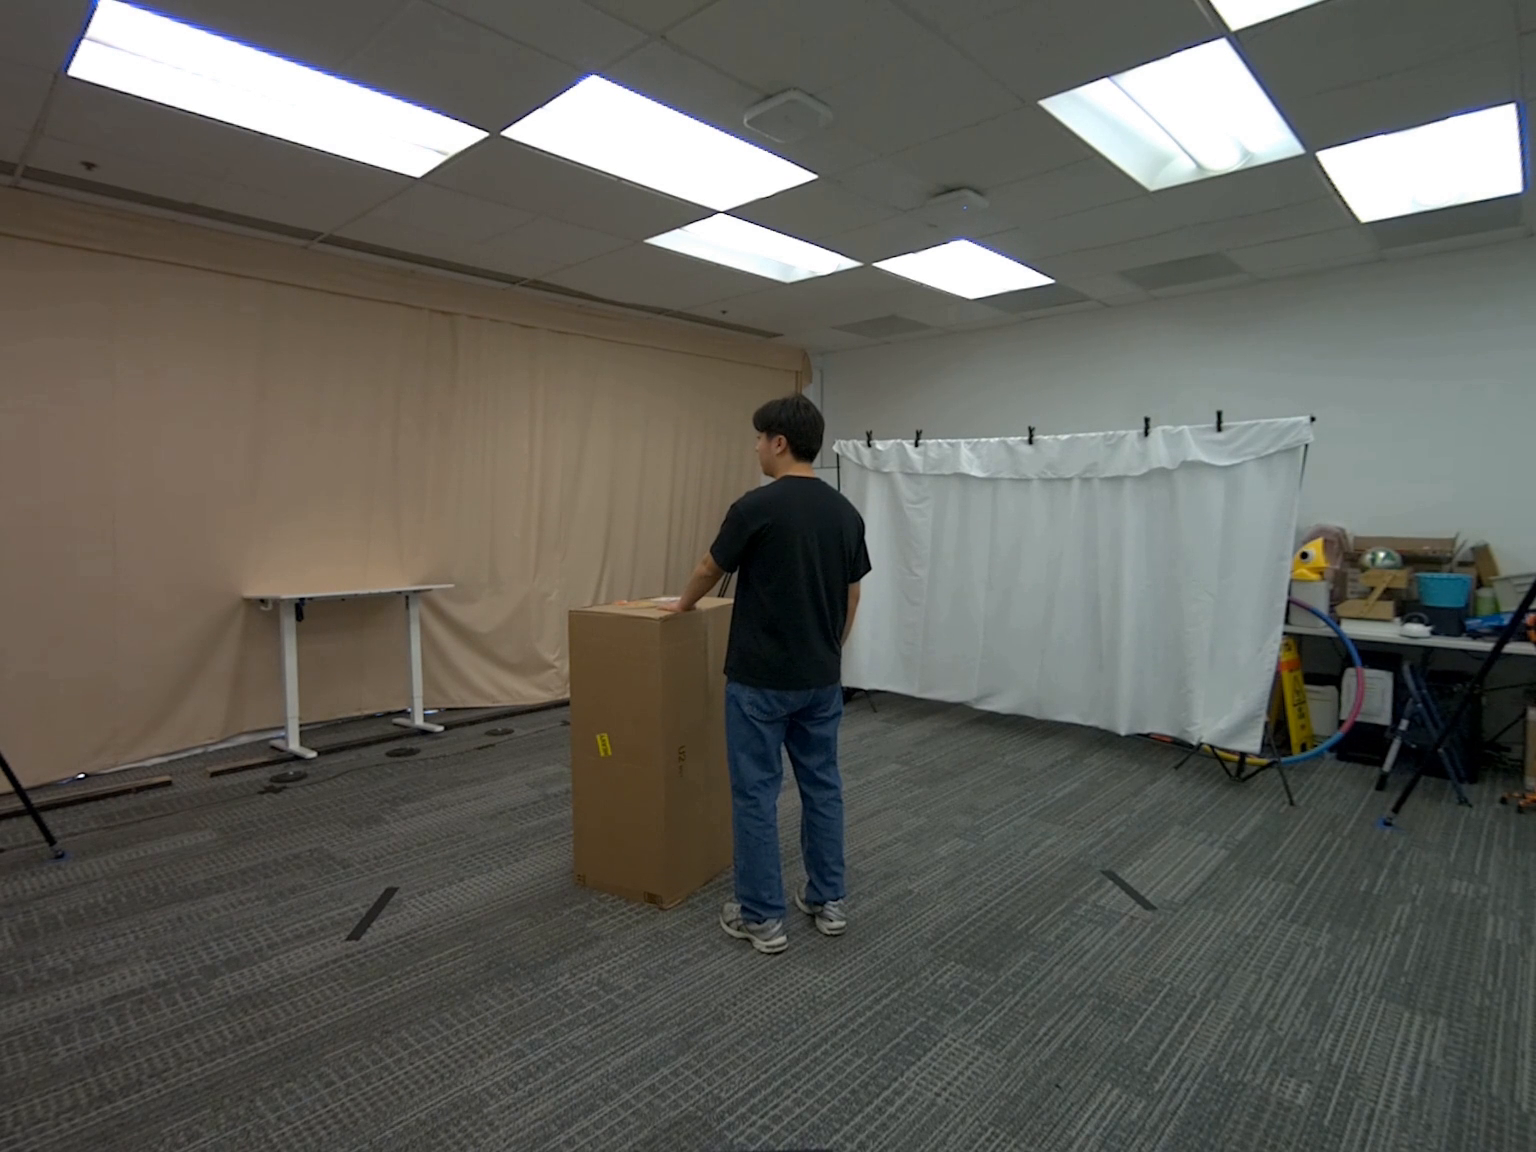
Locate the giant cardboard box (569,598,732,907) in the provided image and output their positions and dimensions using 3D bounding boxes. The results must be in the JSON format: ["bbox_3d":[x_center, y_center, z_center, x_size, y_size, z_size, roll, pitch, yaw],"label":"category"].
[{"bbox_3d":[-0.406,0.614,3.228,0.460,1.025,0.568,1,3,32],"label":"giant cardboard box"}]
